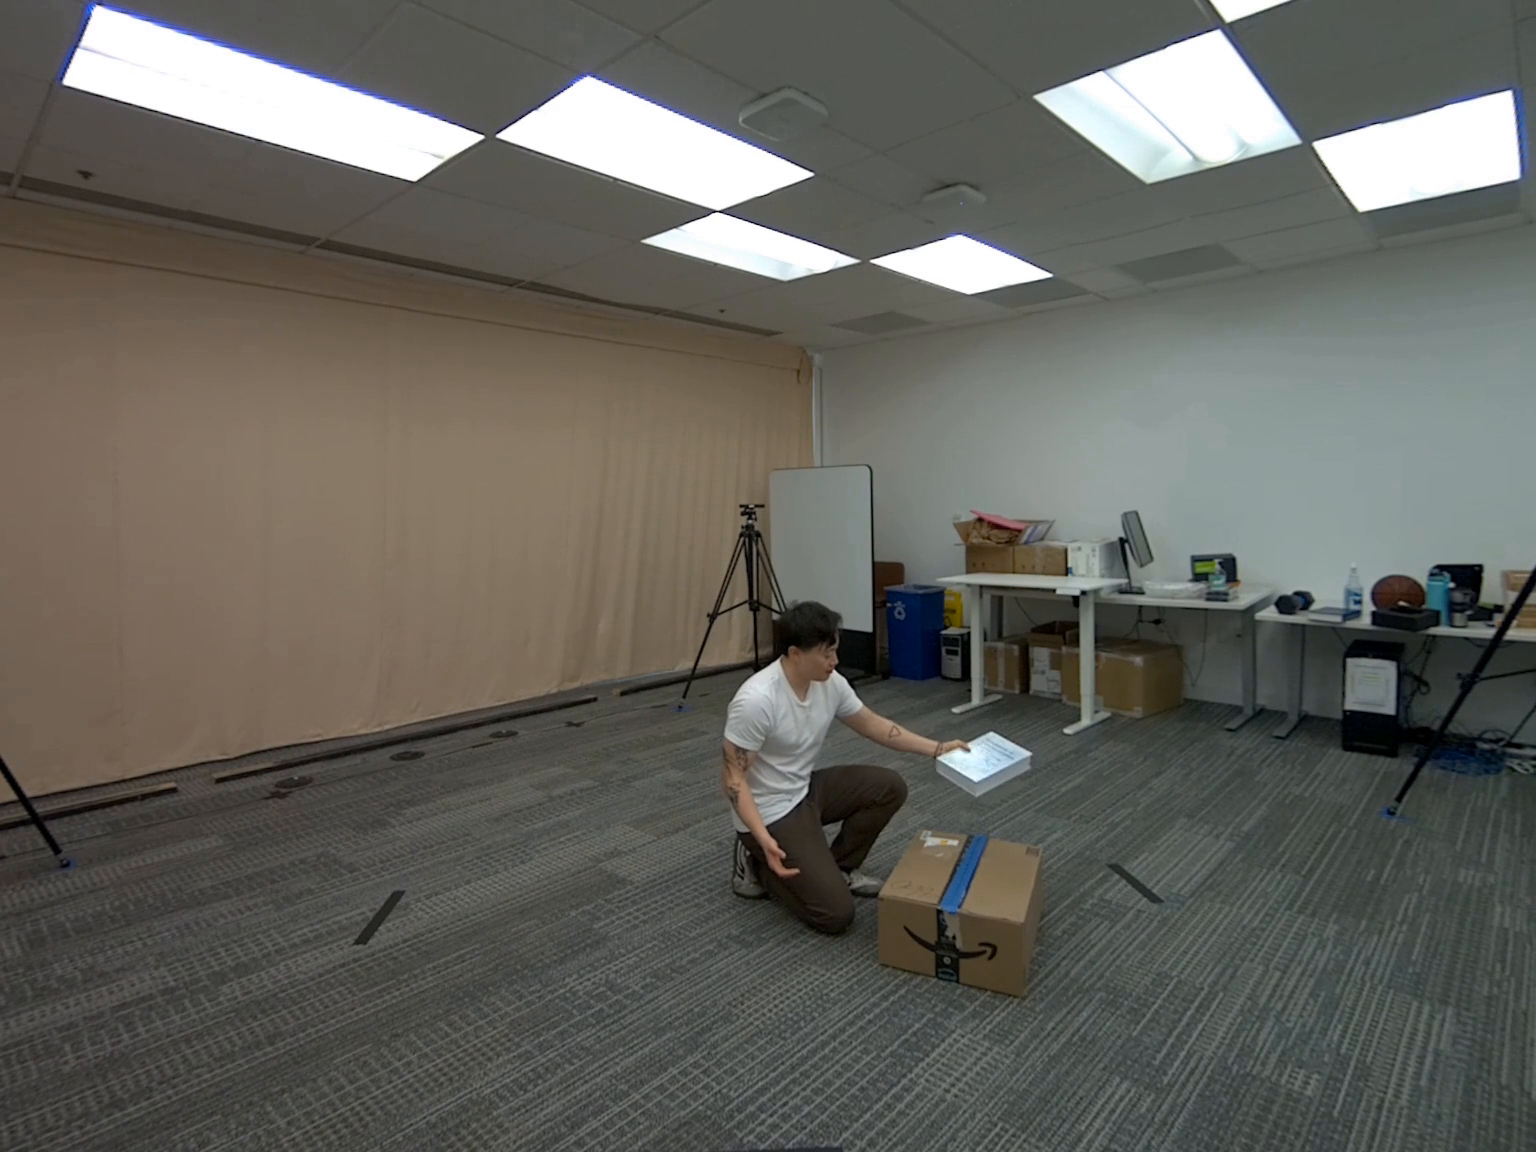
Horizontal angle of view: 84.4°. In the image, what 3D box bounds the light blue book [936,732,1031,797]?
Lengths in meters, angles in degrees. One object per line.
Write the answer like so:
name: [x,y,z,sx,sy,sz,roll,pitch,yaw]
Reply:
light blue book: [0.757,0.639,2.860,0.256,0.058,0.198,-18,24,-28]
